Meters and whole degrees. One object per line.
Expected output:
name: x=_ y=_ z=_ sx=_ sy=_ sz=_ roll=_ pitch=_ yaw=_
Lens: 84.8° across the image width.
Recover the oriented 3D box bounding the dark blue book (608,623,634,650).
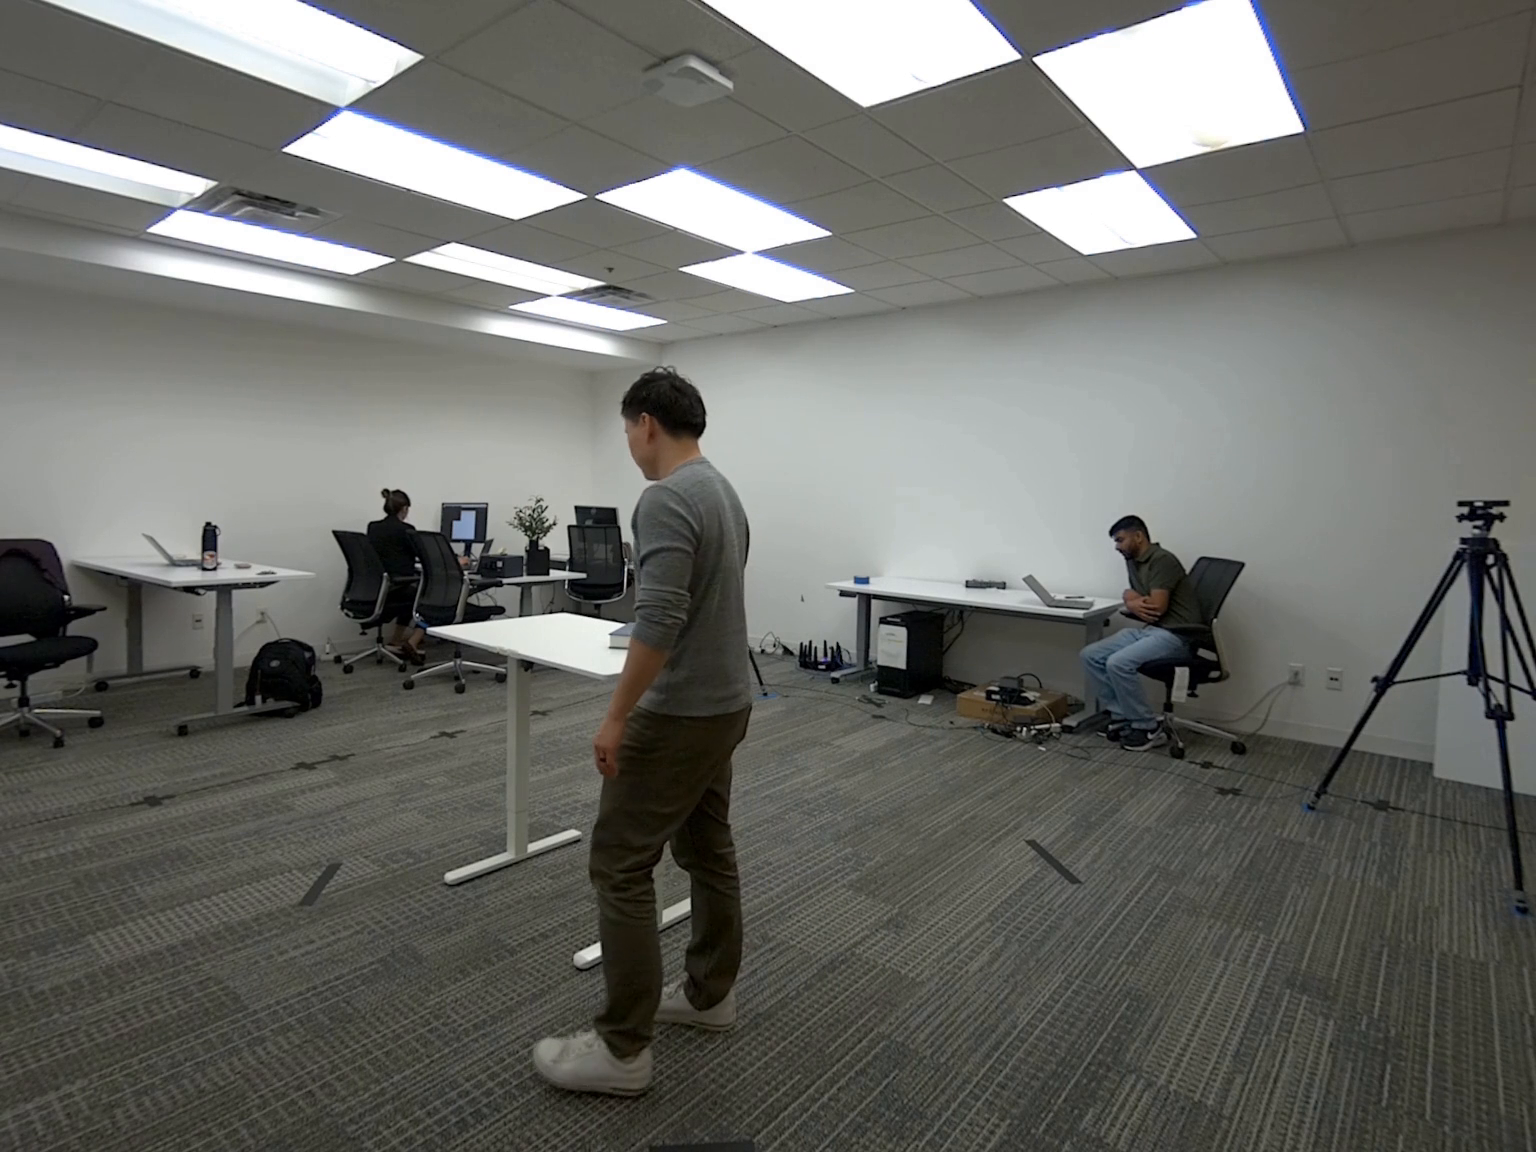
dark blue book: x=-0.415 y=0.196 z=2.792 sx=0.165 sy=0.045 sz=0.243 roll=3 pitch=6 yaw=9
